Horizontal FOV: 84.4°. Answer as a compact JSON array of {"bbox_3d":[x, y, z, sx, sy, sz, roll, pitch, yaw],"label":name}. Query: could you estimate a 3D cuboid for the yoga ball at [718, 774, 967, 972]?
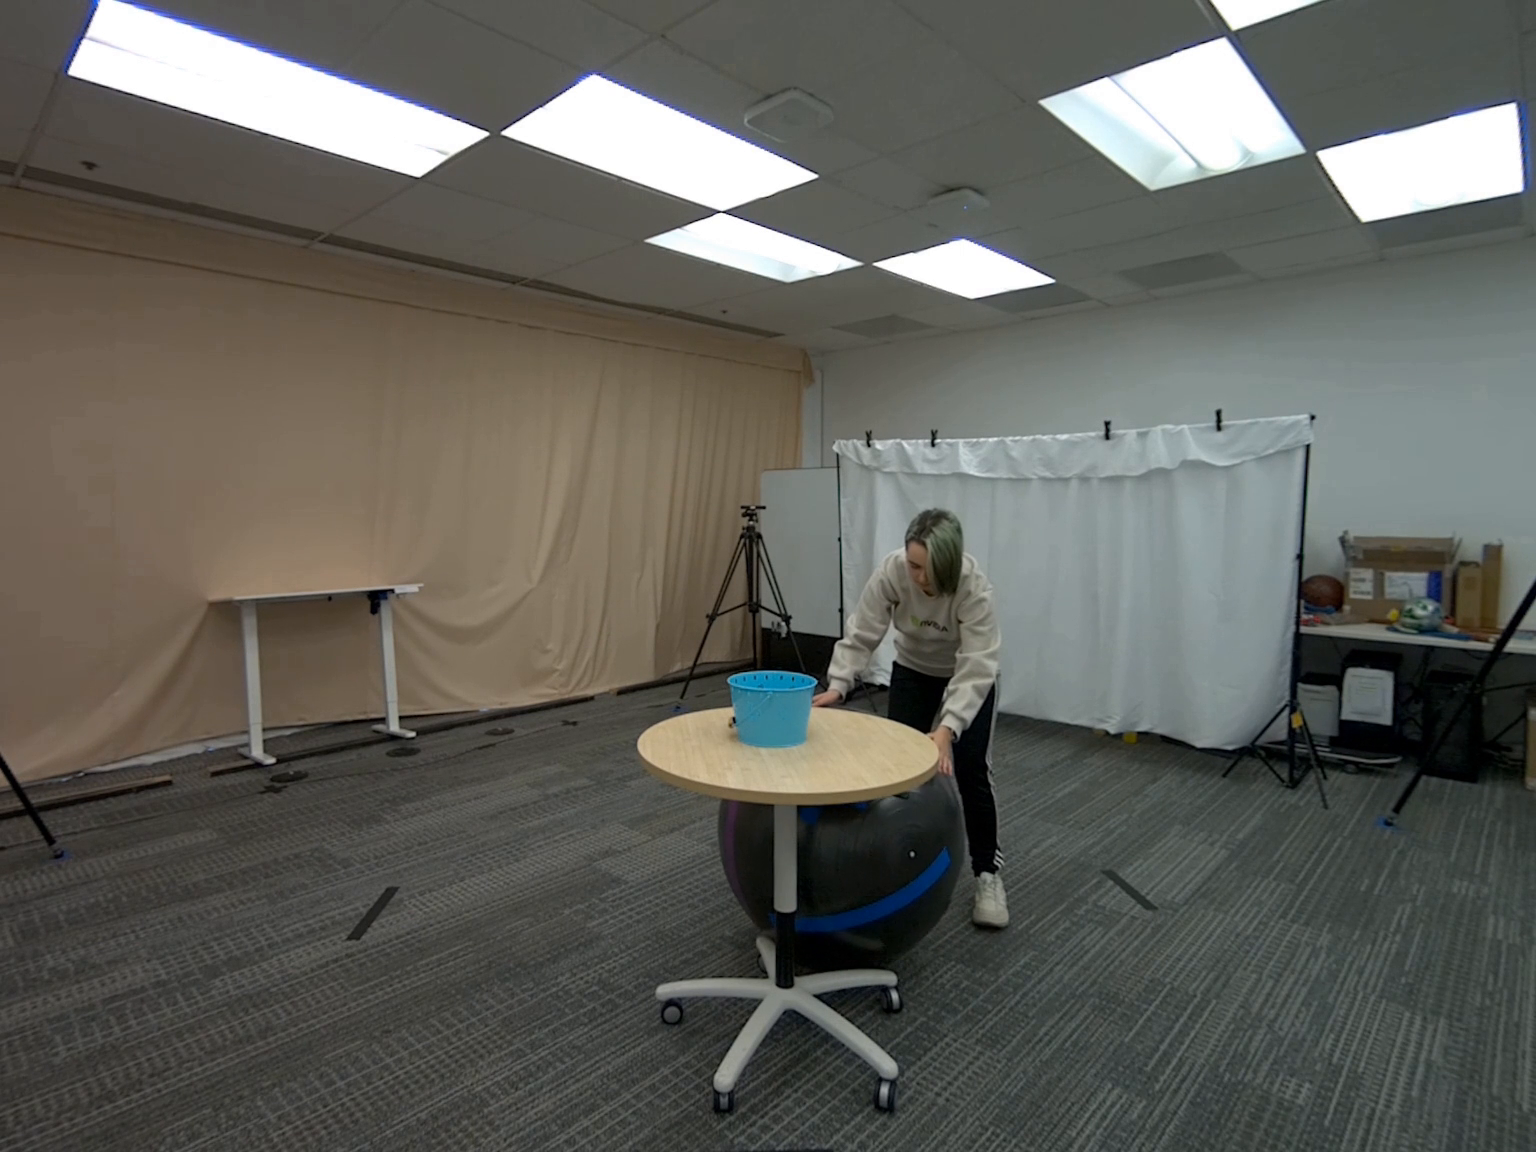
[{"bbox_3d":[0.227,0.804,2.636,0.757,0.756,0.761,0,4,-2],"label":"yoga ball"}]
